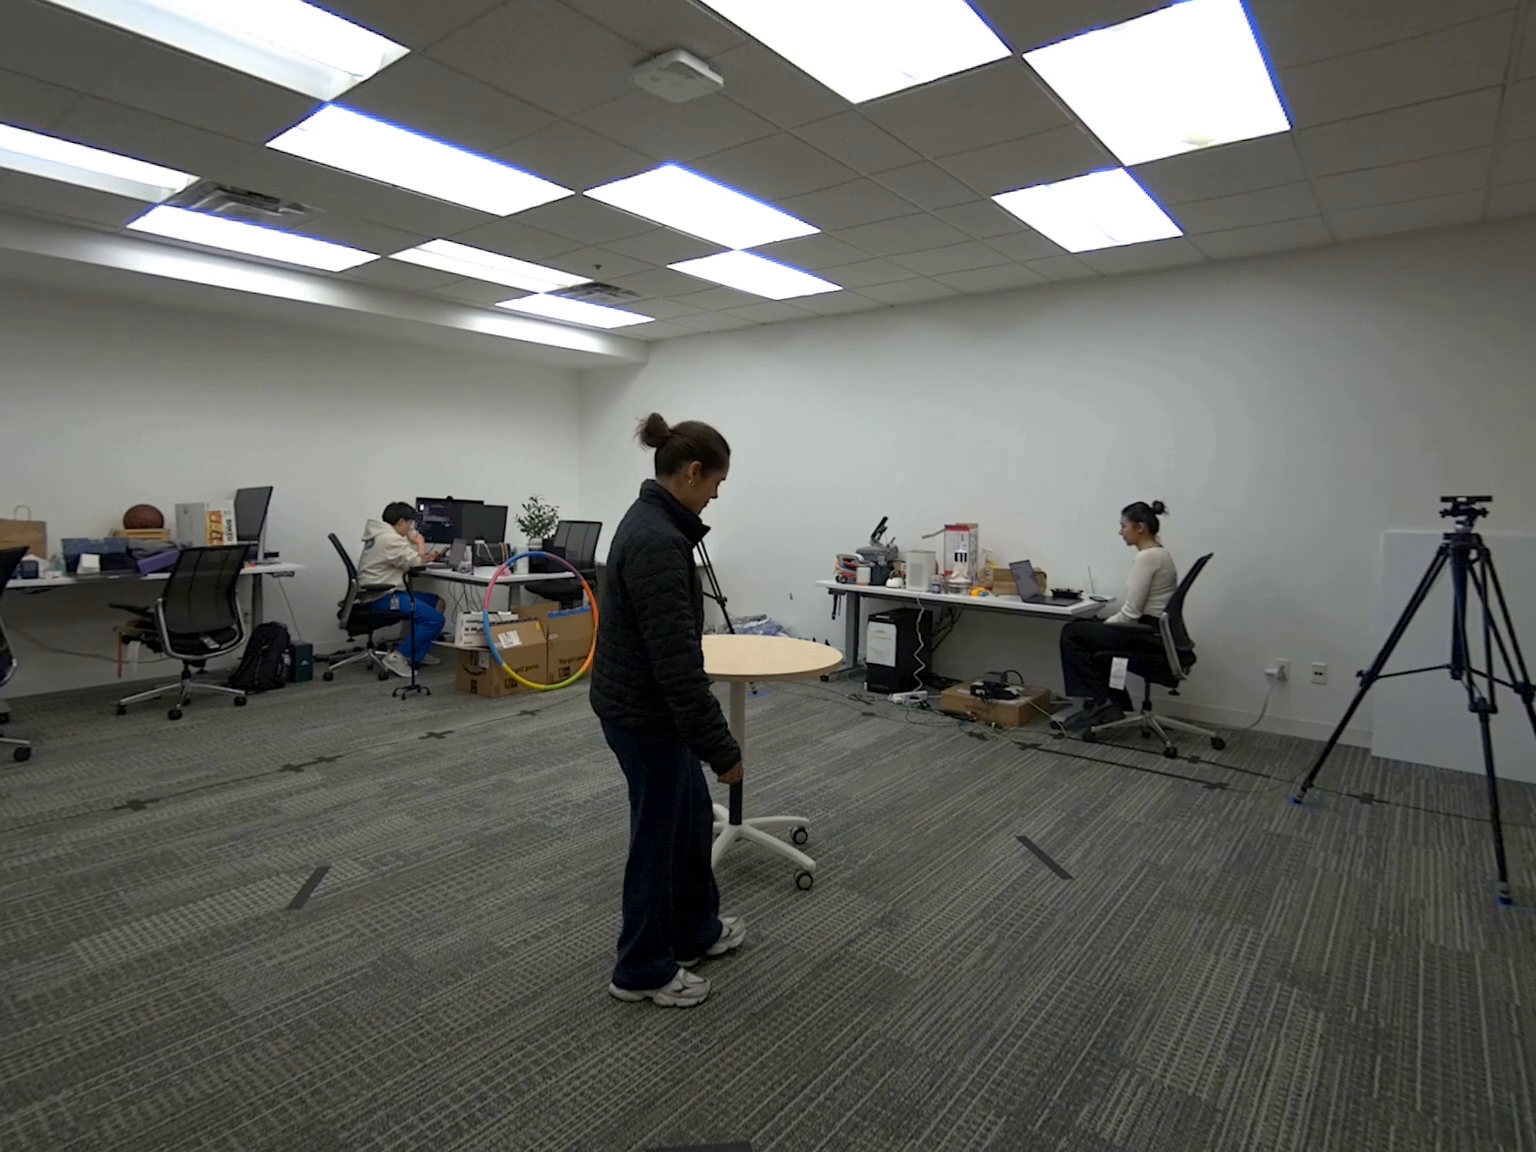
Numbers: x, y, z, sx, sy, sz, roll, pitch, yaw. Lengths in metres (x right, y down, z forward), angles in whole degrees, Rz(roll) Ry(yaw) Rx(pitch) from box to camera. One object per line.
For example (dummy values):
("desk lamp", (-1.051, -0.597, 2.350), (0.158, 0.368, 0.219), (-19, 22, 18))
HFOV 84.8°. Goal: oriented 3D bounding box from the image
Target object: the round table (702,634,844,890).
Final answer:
("round table", (-0.097, 0.668, 3.165), (0.784, 0.784, 0.789), (0, 4, -2))
